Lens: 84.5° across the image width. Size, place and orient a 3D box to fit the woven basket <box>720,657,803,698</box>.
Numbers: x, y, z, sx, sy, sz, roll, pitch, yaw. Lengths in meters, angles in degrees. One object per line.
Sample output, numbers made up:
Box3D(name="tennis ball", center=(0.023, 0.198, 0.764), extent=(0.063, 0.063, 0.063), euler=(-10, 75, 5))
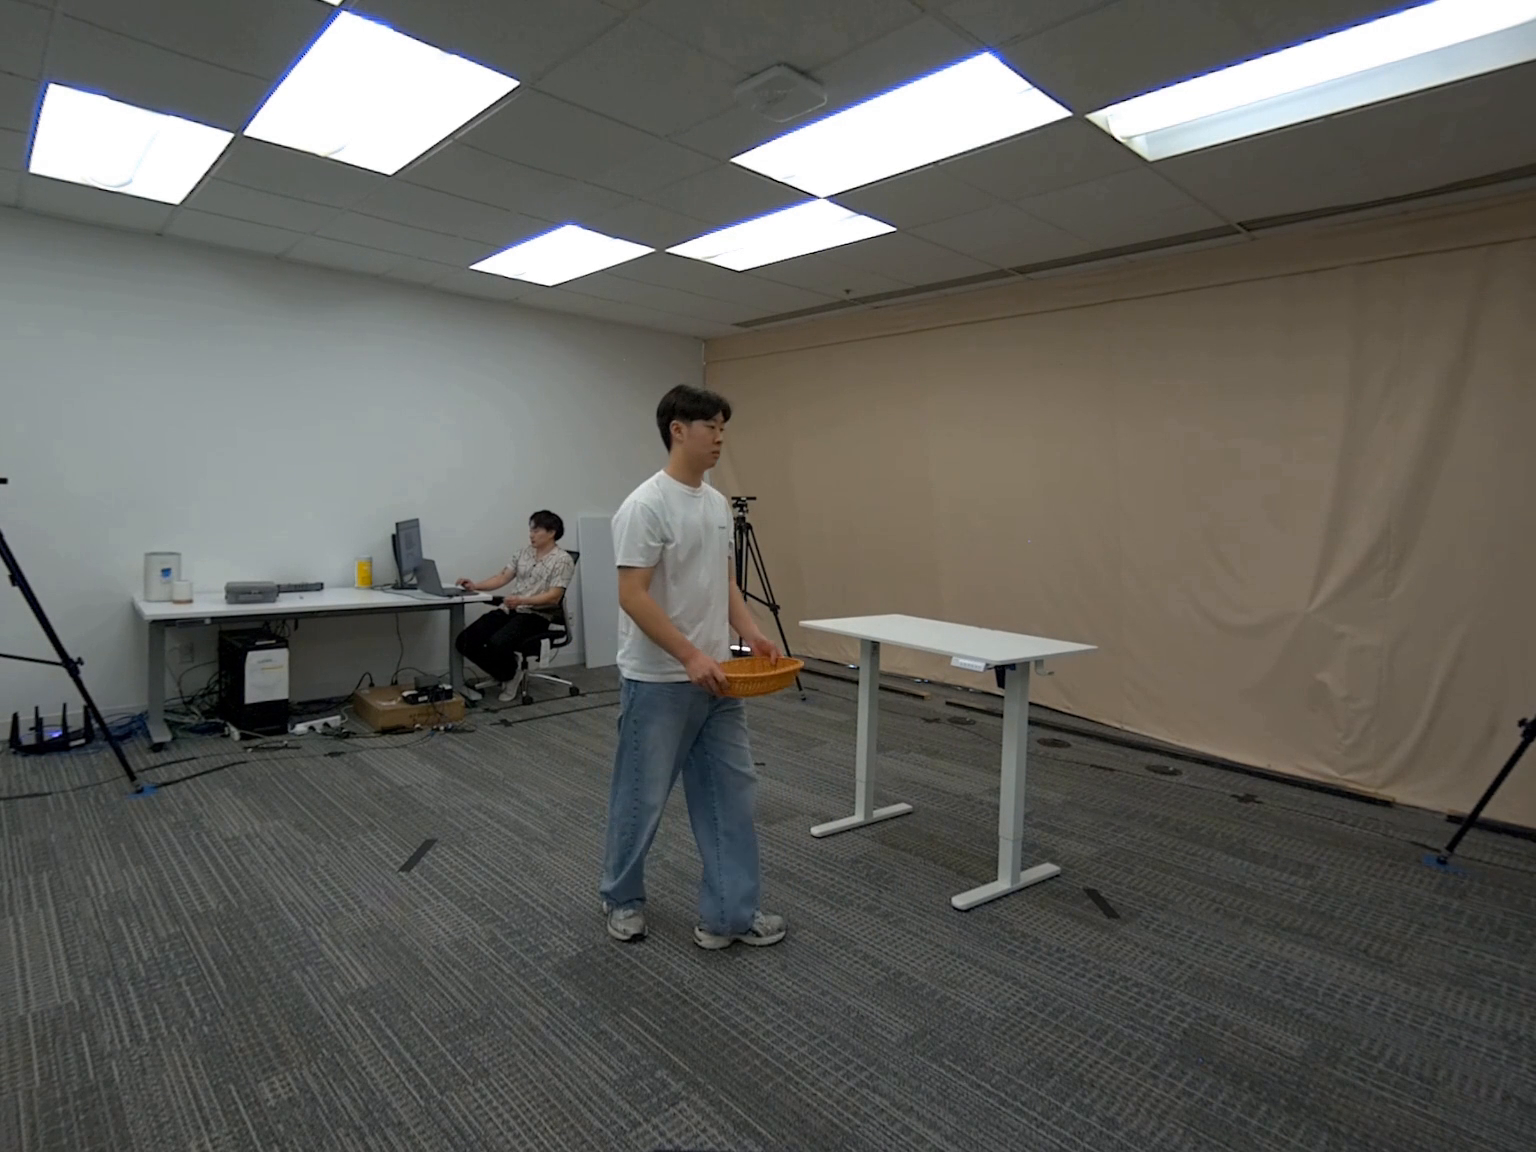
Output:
Box3D(name="woven basket", center=(-0.077, 0.299, 2.503), extent=(0.342, 0.073, 0.259), euler=(-4, 5, -45))
